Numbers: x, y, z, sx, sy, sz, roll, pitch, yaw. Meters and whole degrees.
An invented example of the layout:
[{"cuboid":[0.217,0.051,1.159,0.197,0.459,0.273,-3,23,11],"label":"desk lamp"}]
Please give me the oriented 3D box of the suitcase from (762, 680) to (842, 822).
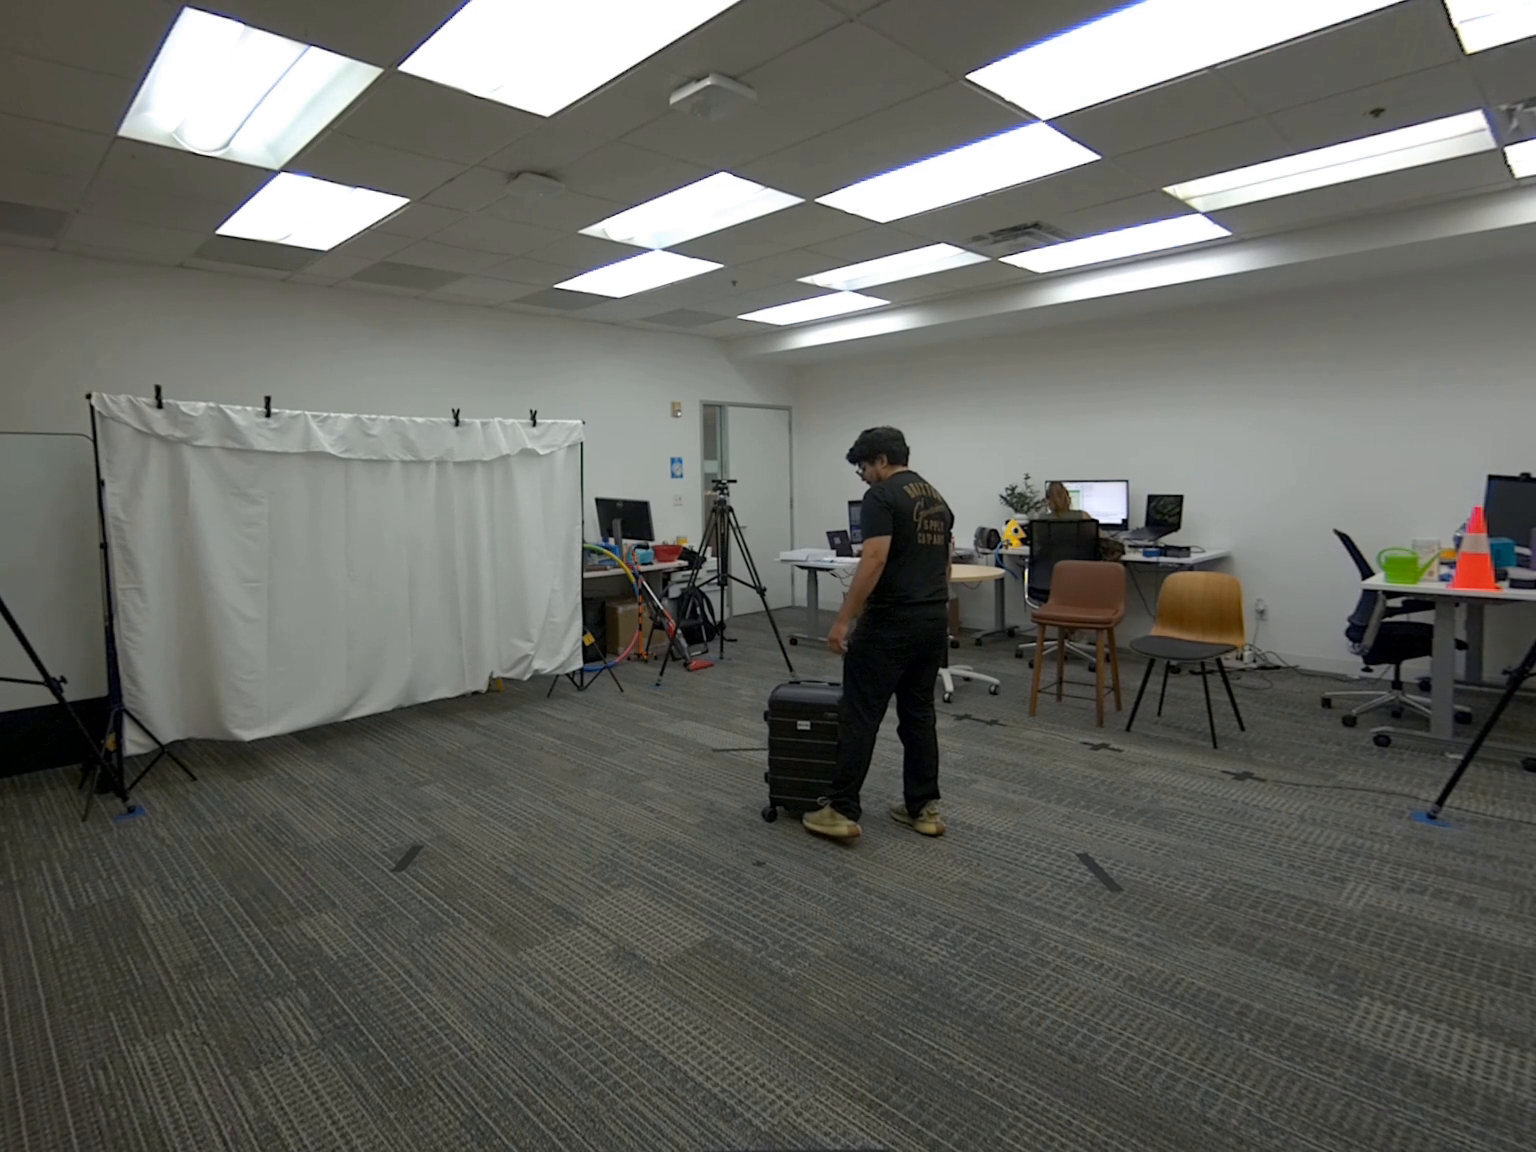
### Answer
[{"cuboid":[0.189,0.722,3.553,0.381,0.548,0.245,1,3,16],"label":"suitcase"}]
